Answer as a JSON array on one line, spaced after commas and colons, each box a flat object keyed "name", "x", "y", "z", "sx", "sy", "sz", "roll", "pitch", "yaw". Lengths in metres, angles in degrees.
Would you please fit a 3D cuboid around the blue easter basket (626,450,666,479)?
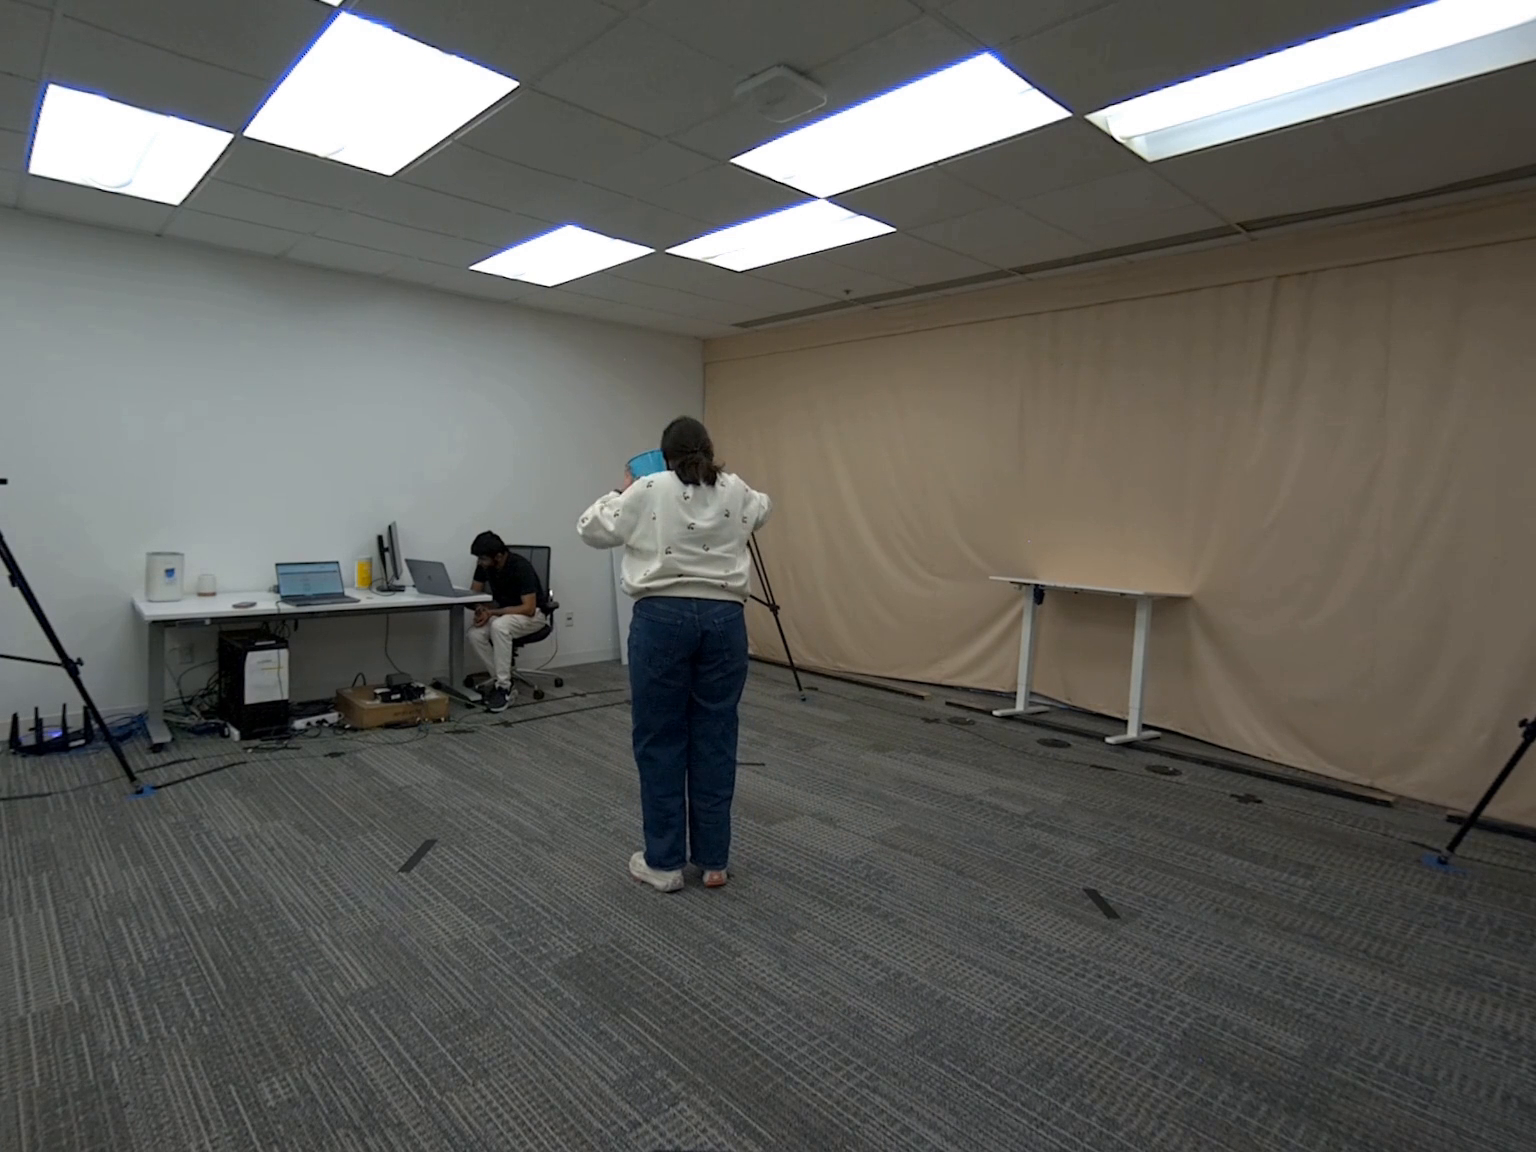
[{"name": "blue easter basket", "x": -0.450, "y": -0.393, "z": 3.415, "sx": 0.243, "sy": 0.158, "sz": 0.241, "roll": -12, "pitch": -14, "yaw": -4}]
